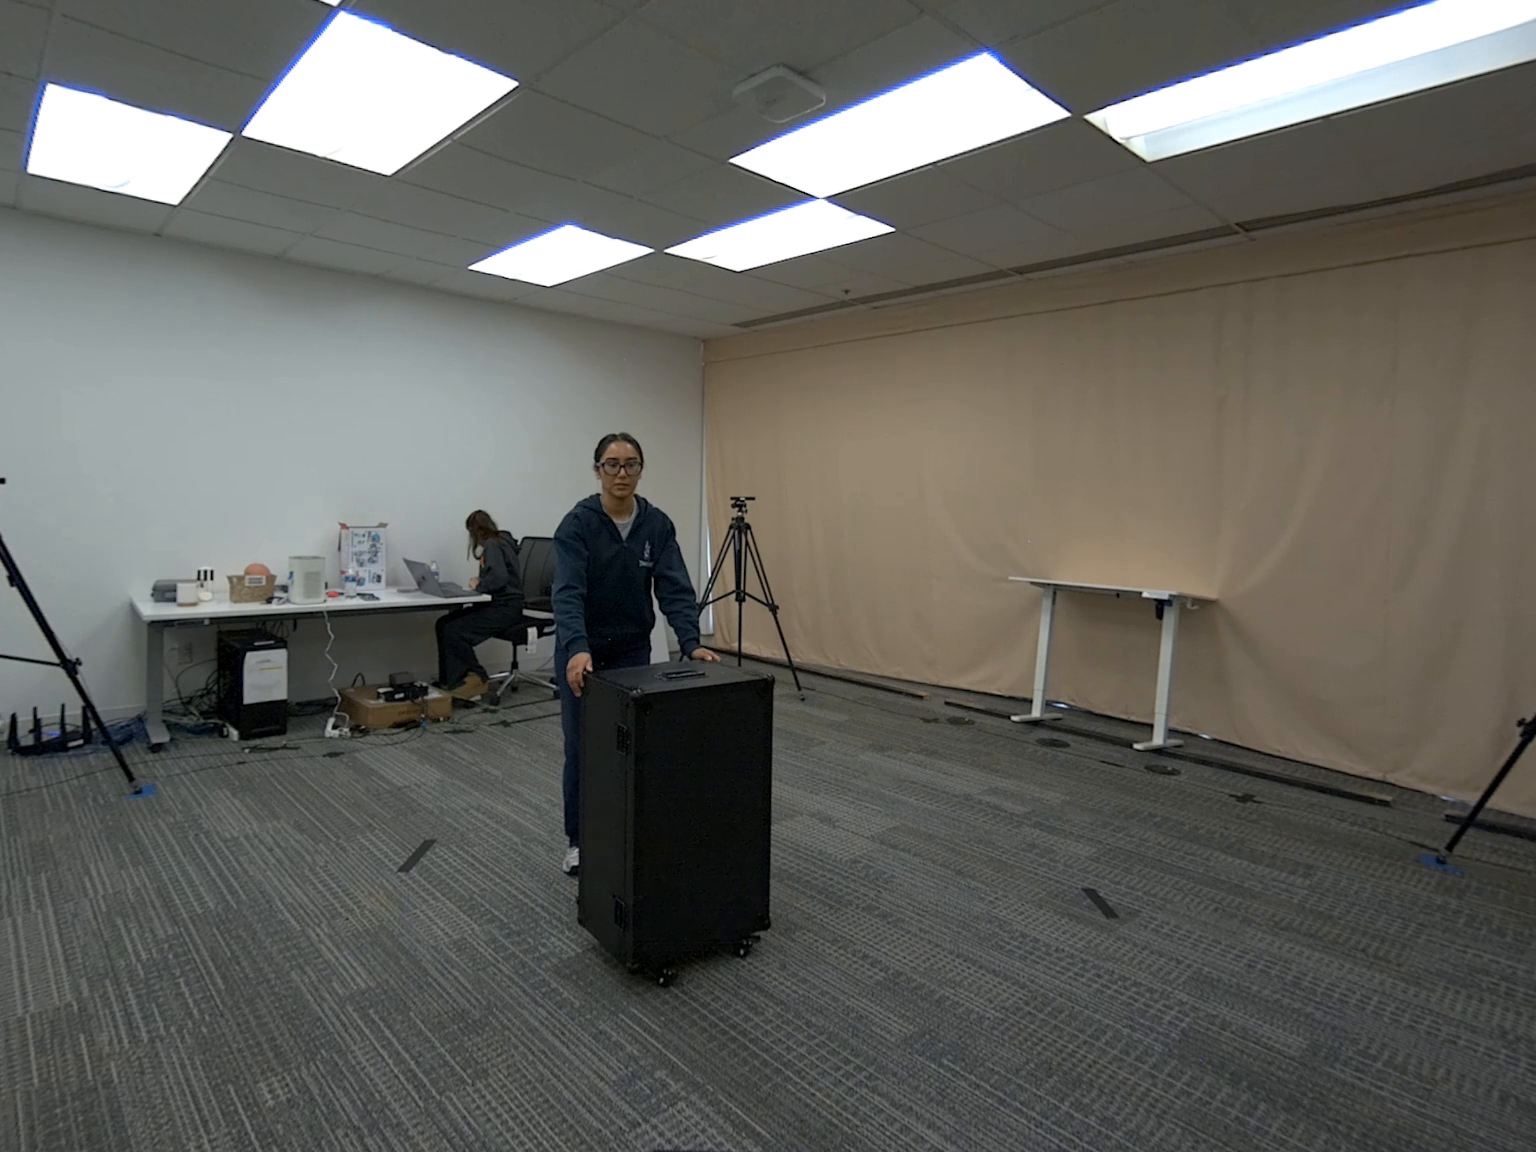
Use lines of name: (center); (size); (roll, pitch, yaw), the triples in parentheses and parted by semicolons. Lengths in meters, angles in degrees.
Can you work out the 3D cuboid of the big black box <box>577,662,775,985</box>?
big black box: (-0.294, 0.729, 2.582); (0.510, 0.860, 0.405); (-1, 2, -37)
